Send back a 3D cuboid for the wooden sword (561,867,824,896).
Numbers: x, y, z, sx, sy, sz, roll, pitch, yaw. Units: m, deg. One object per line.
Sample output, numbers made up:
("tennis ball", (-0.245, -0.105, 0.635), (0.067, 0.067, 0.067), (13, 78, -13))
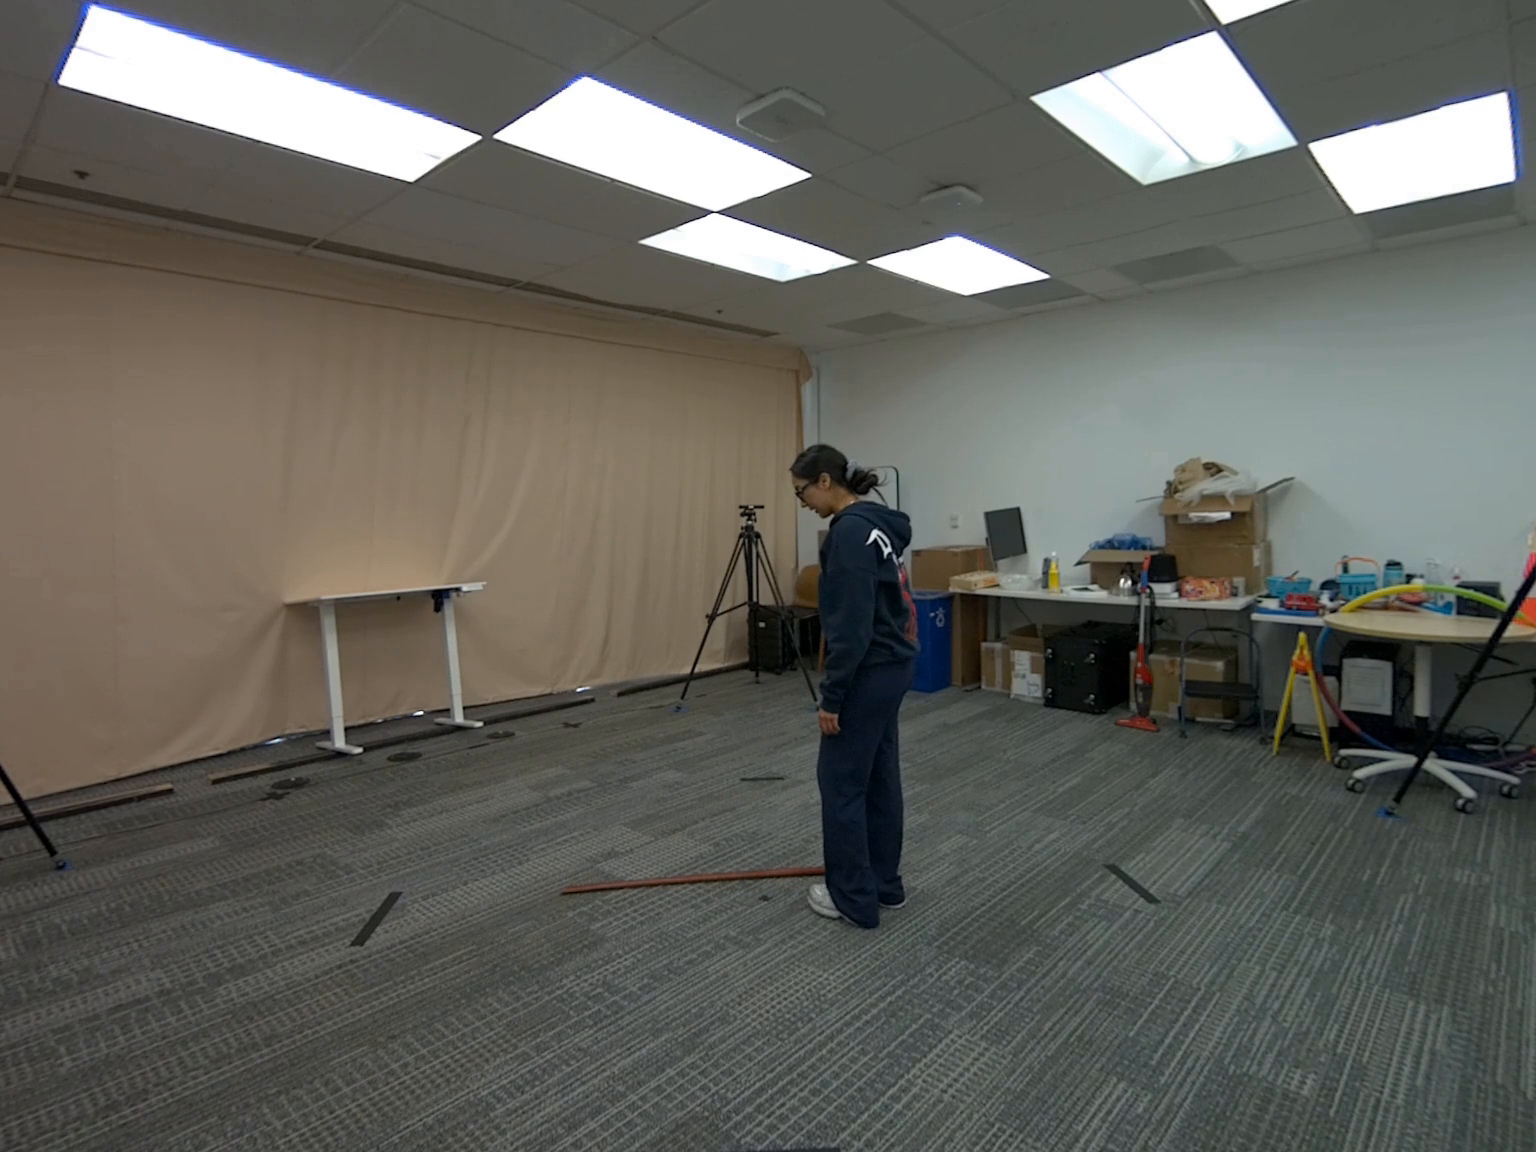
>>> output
("wooden sword", (-0.247, 1.120, 3.126), (1.017, 0.024, 0.051), (-2, -14, -7))
